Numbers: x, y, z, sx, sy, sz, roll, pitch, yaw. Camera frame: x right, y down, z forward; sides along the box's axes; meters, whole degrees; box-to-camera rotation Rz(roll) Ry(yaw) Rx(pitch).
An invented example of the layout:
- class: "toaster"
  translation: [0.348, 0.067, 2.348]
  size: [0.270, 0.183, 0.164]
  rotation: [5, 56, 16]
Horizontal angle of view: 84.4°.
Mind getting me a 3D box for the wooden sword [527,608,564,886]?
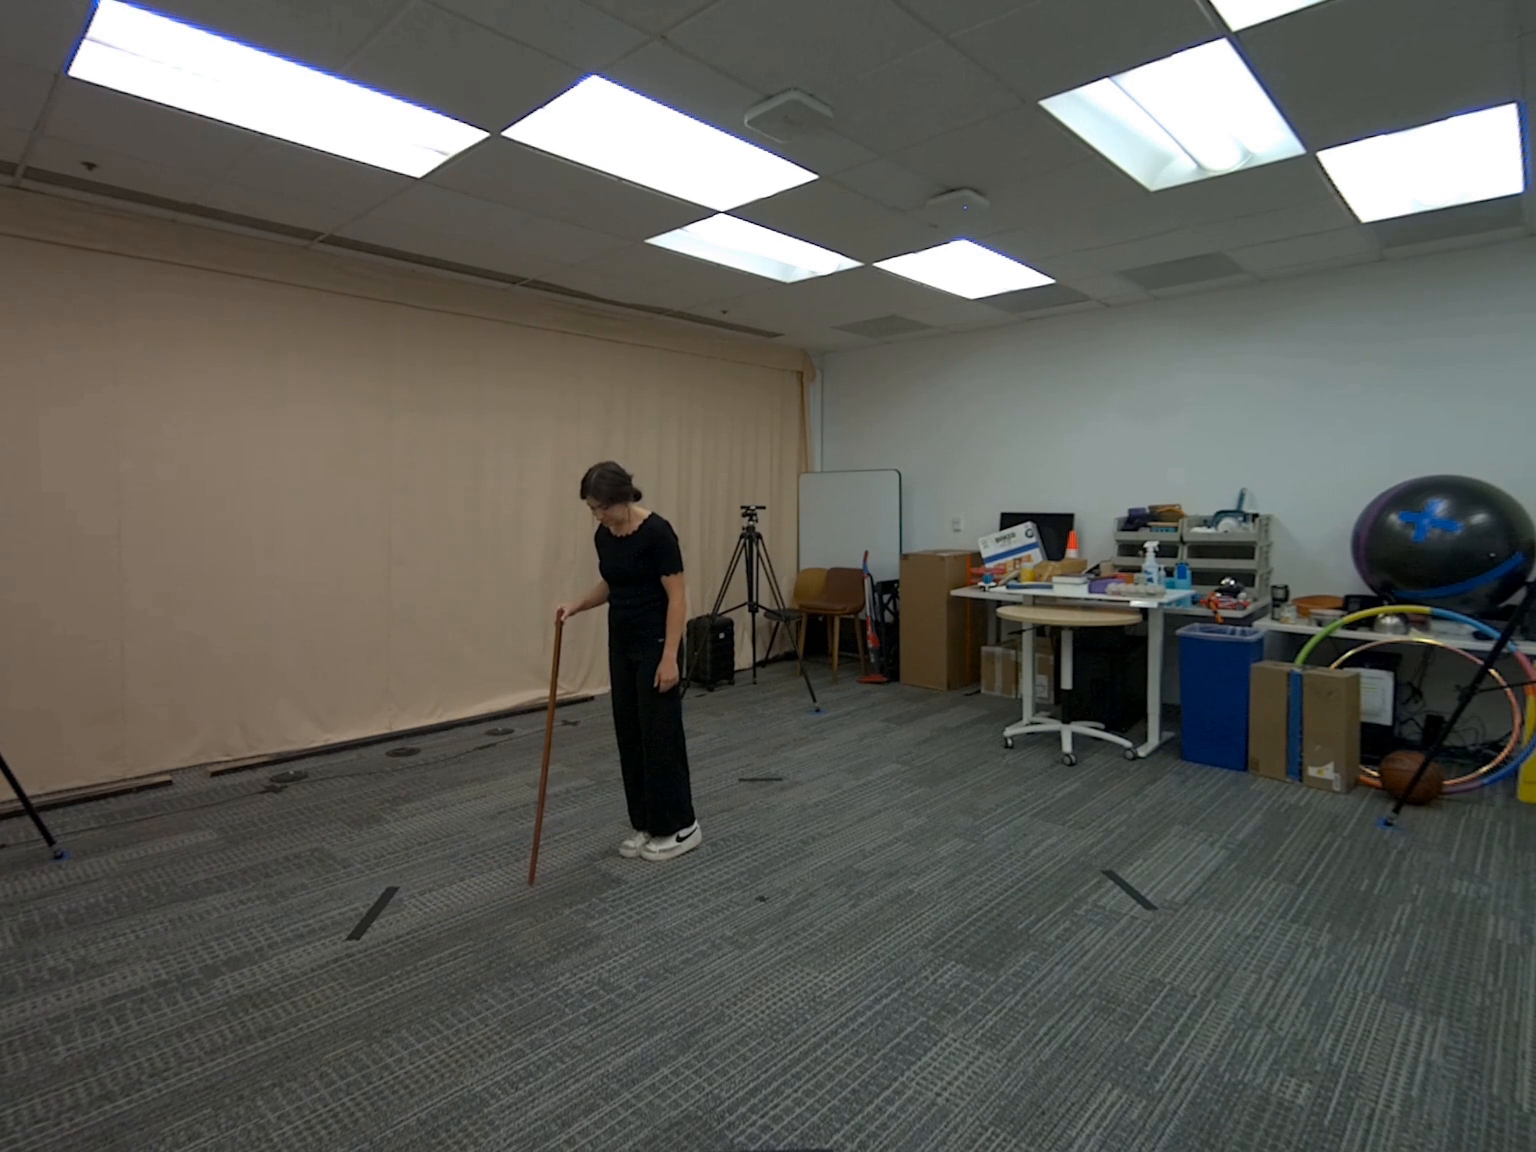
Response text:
- class: "wooden sword"
  translation: [-0.835, 0.657, 3.248]
  size: [0.025, 1.033, 0.049]
  rotation: [-5, -19, 33]
